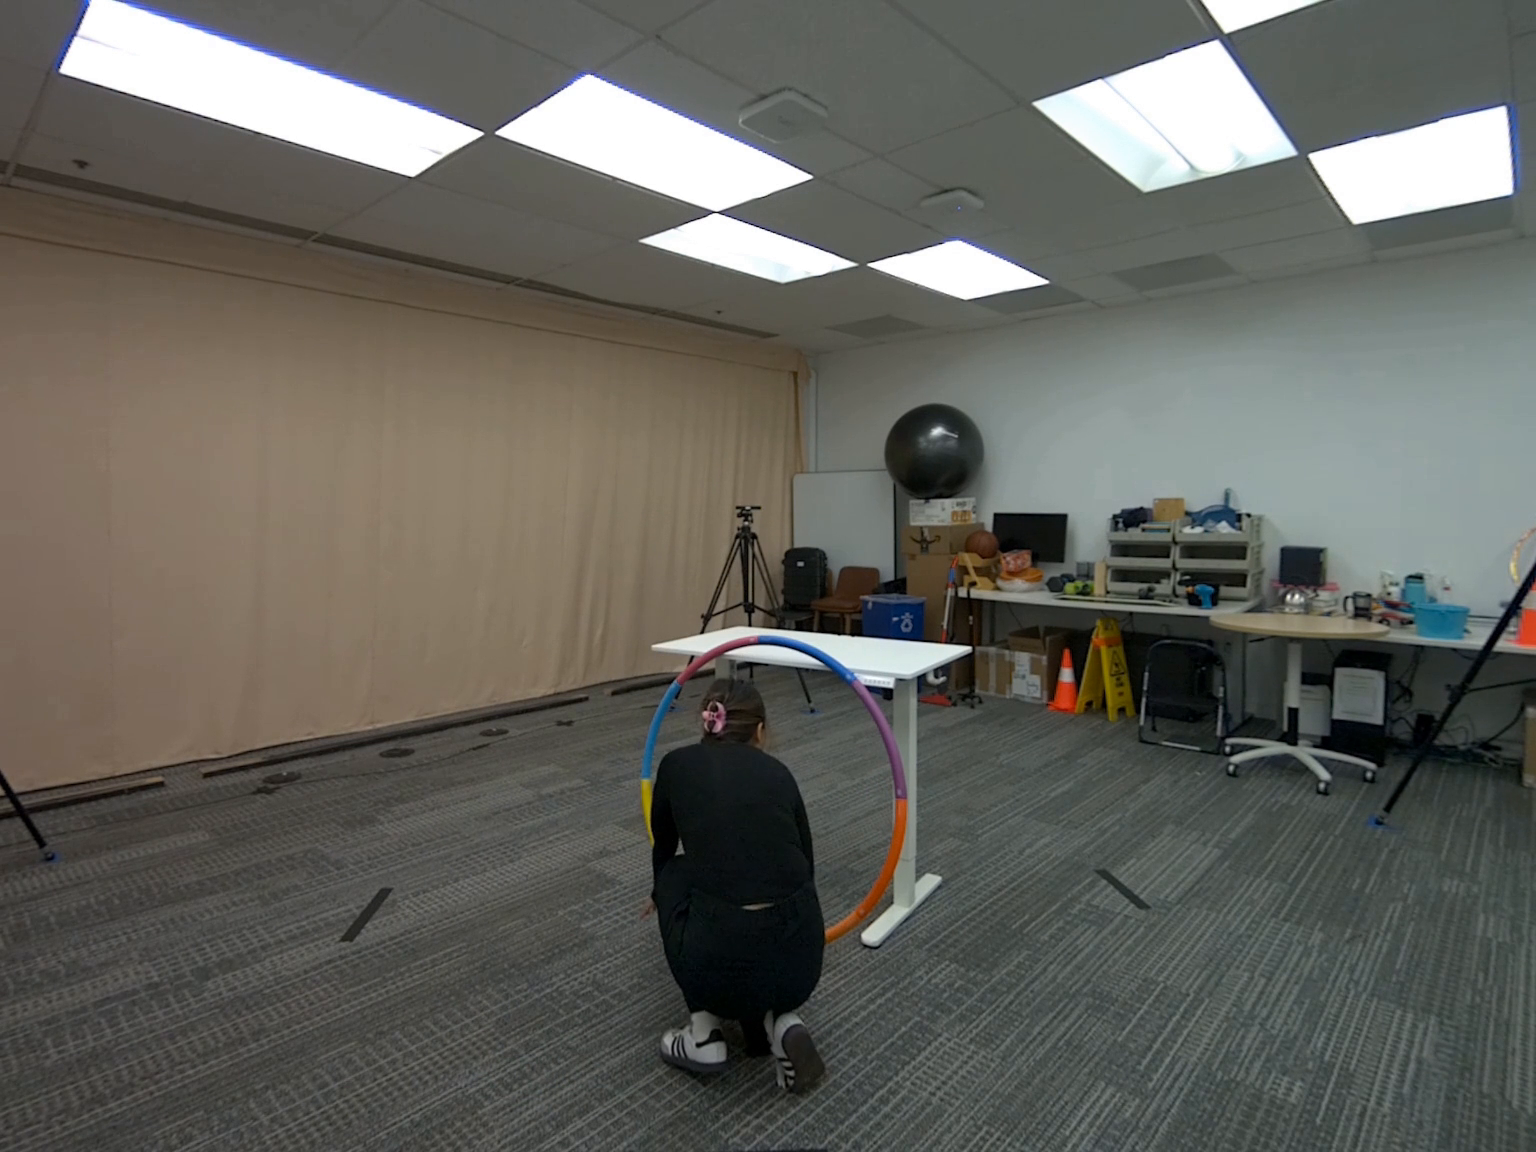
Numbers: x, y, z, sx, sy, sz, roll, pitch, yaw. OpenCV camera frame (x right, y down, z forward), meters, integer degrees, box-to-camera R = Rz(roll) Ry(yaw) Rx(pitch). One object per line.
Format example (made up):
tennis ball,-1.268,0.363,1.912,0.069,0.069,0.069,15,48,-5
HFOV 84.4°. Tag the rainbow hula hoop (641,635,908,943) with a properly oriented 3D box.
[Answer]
rainbow hula hoop,-0.022,0.688,2.723,1.009,0.982,0.034,2,-7,34
